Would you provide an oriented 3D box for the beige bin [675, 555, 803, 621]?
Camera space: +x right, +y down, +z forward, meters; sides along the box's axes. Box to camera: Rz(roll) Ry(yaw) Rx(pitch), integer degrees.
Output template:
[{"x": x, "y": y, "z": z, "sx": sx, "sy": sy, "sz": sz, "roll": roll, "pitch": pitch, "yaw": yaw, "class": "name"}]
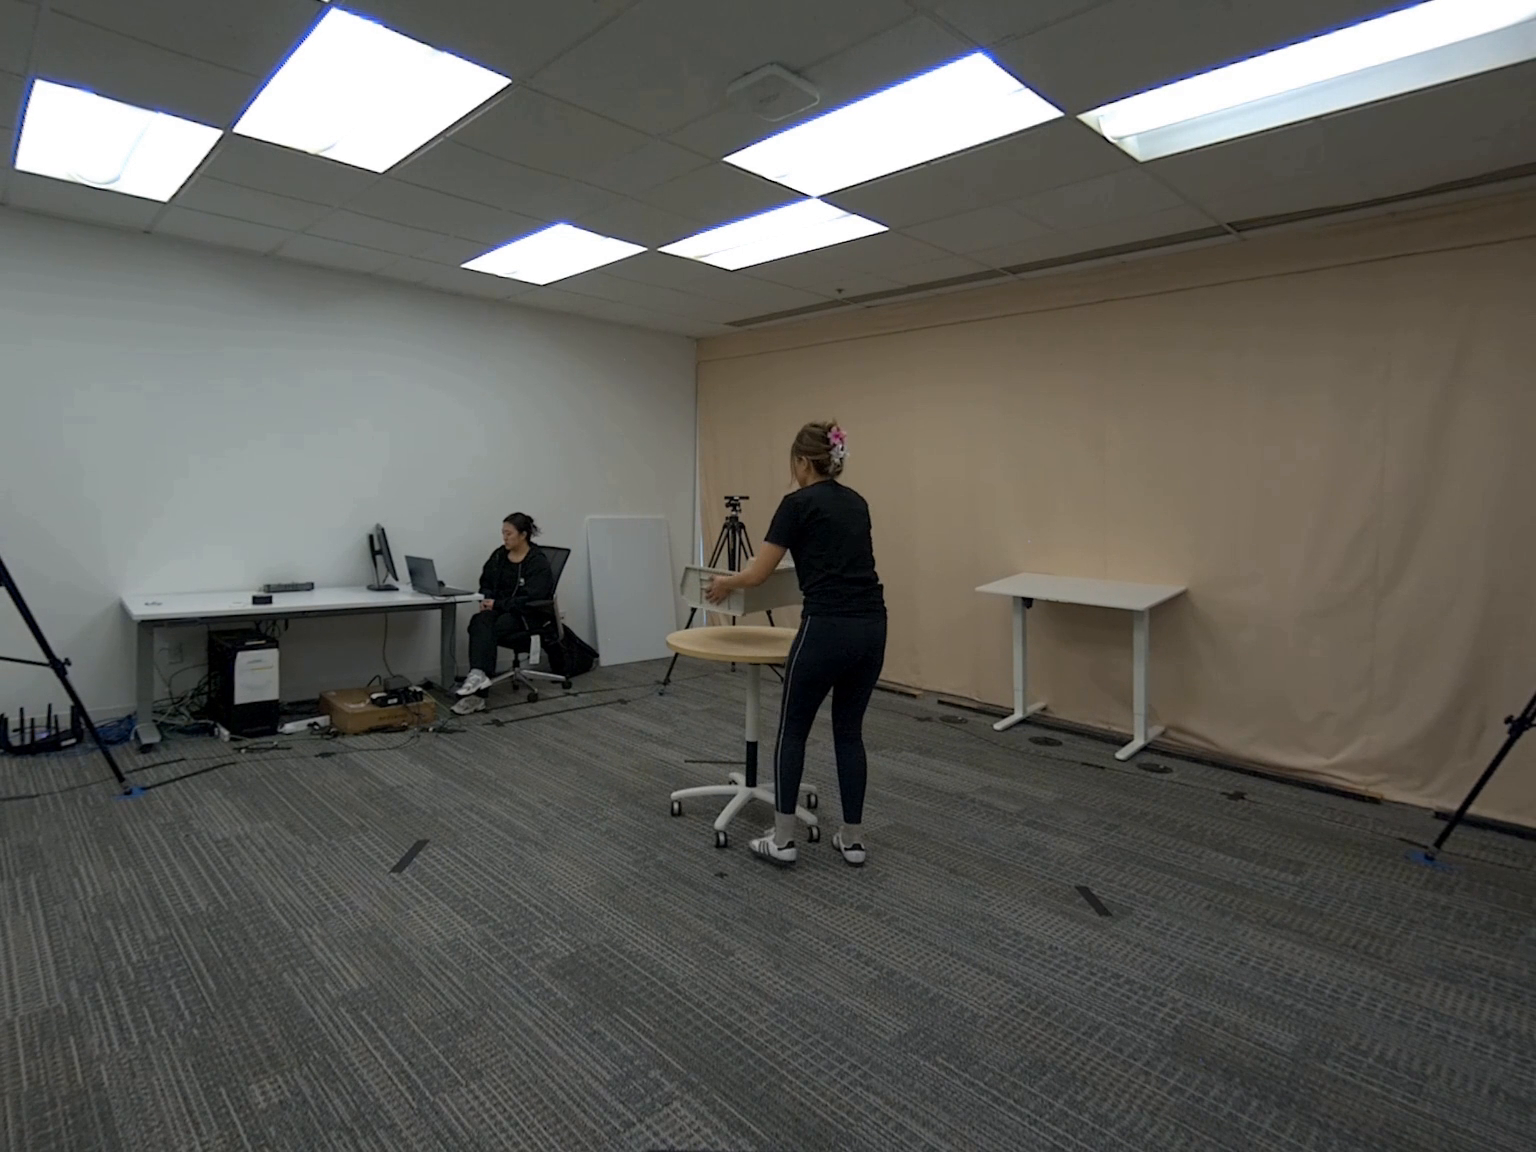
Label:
[{"x": -0.113, "y": 0.039, "z": 3.637, "sx": 0.387, "sy": 0.188, "sz": 0.413, "roll": 10, "pitch": 10, "yaw": 38, "class": "beige bin"}]
